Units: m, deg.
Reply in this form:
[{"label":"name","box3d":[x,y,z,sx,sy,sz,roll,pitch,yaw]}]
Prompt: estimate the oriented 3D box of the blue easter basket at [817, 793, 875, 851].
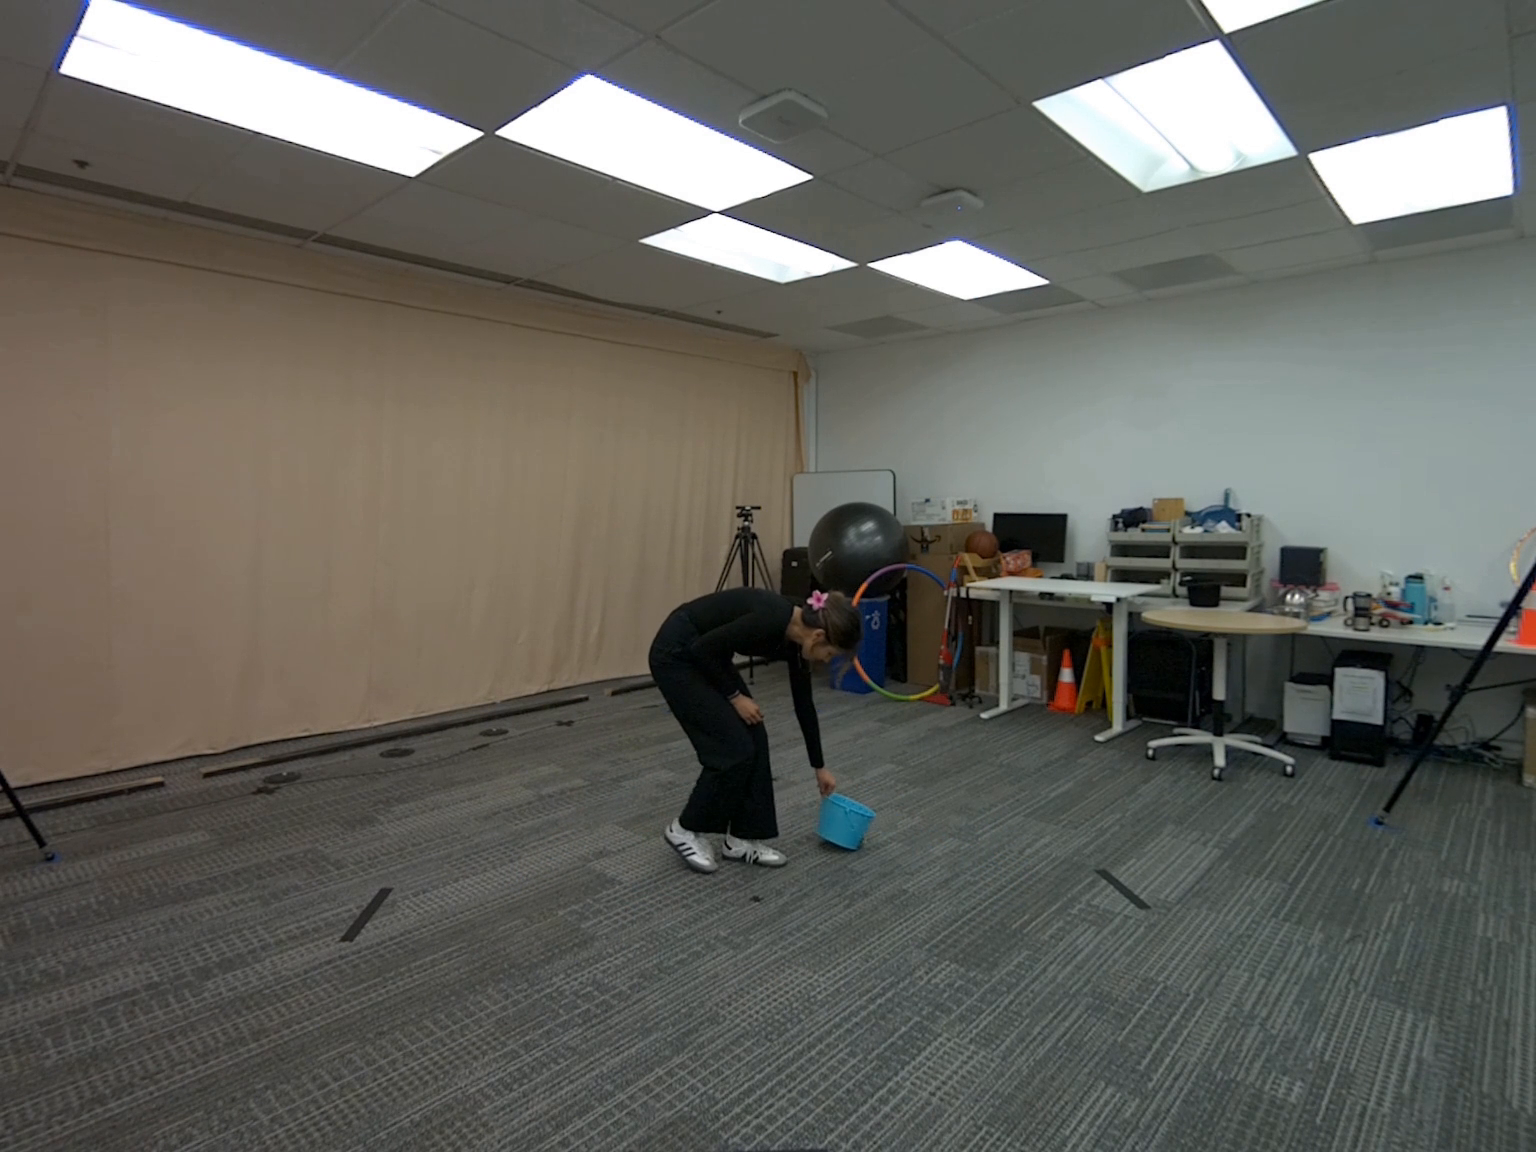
[{"label":"blue easter basket","box3d":[0.313,1.005,3.435,0.244,0.156,0.243,20,-2,-1]}]
